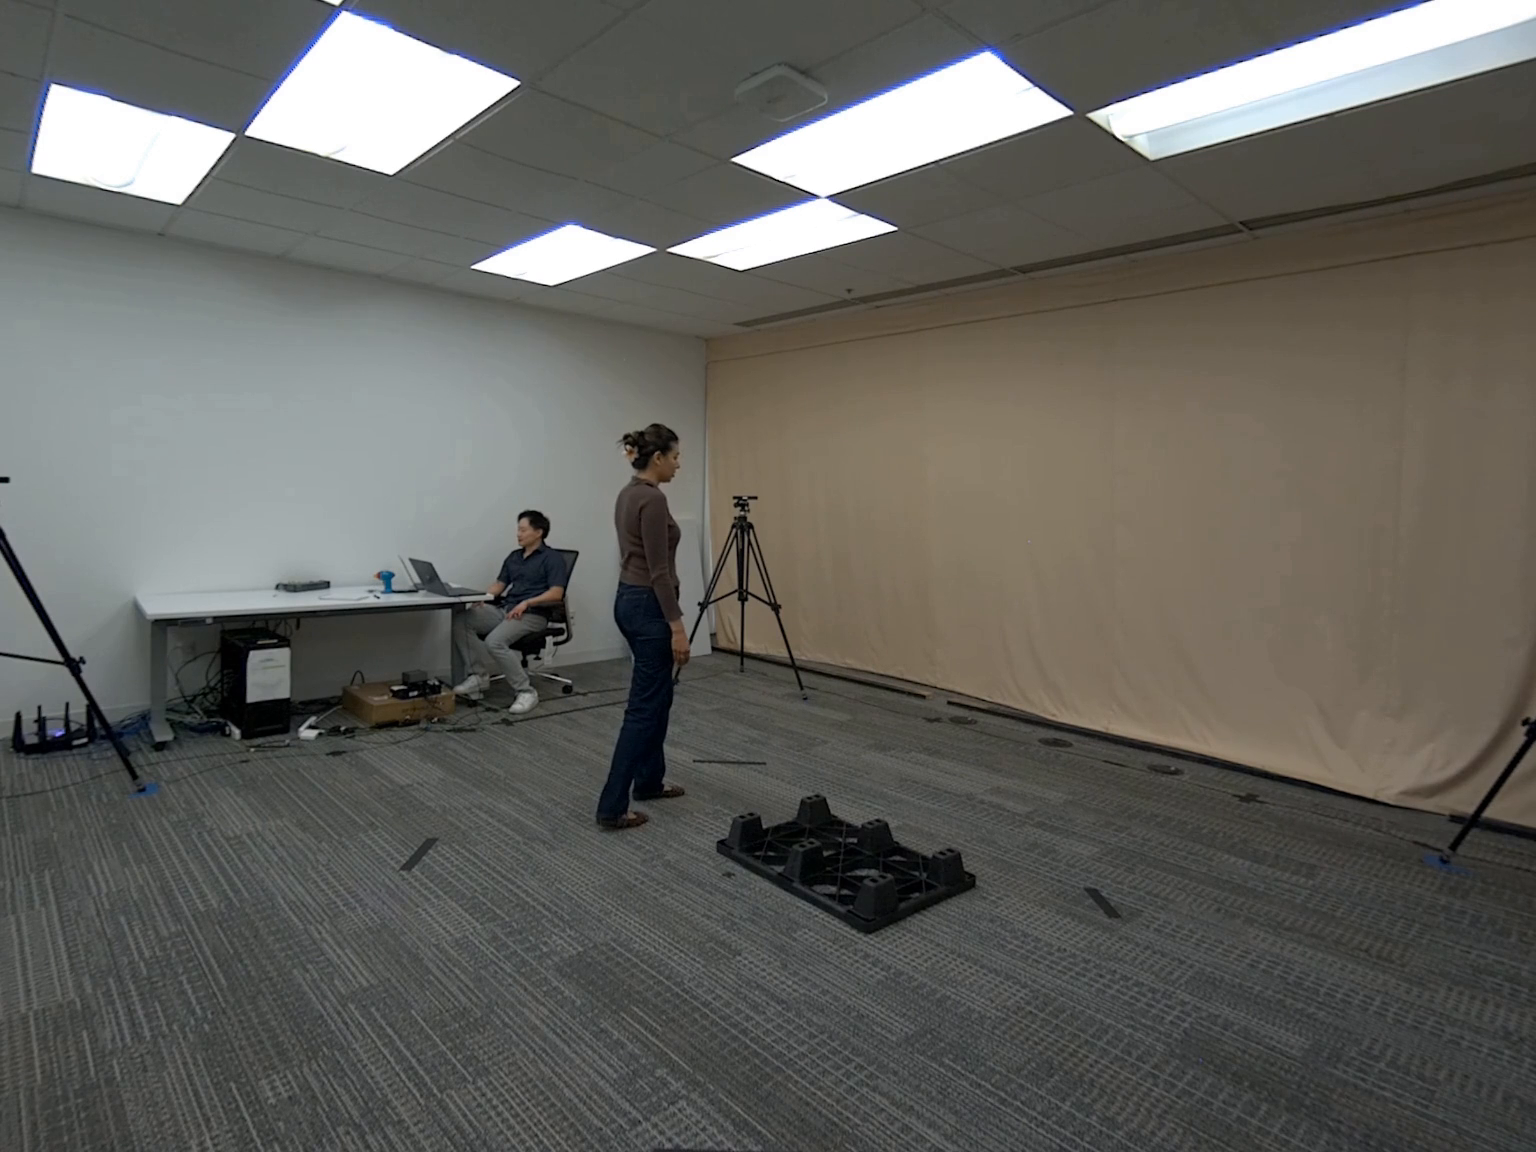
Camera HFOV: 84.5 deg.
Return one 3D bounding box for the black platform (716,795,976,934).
[{"bbox_3d":[0.266,1.040,3.182,0.591,0.143,0.826,-2,6,-40],"label":"black platform"}]
